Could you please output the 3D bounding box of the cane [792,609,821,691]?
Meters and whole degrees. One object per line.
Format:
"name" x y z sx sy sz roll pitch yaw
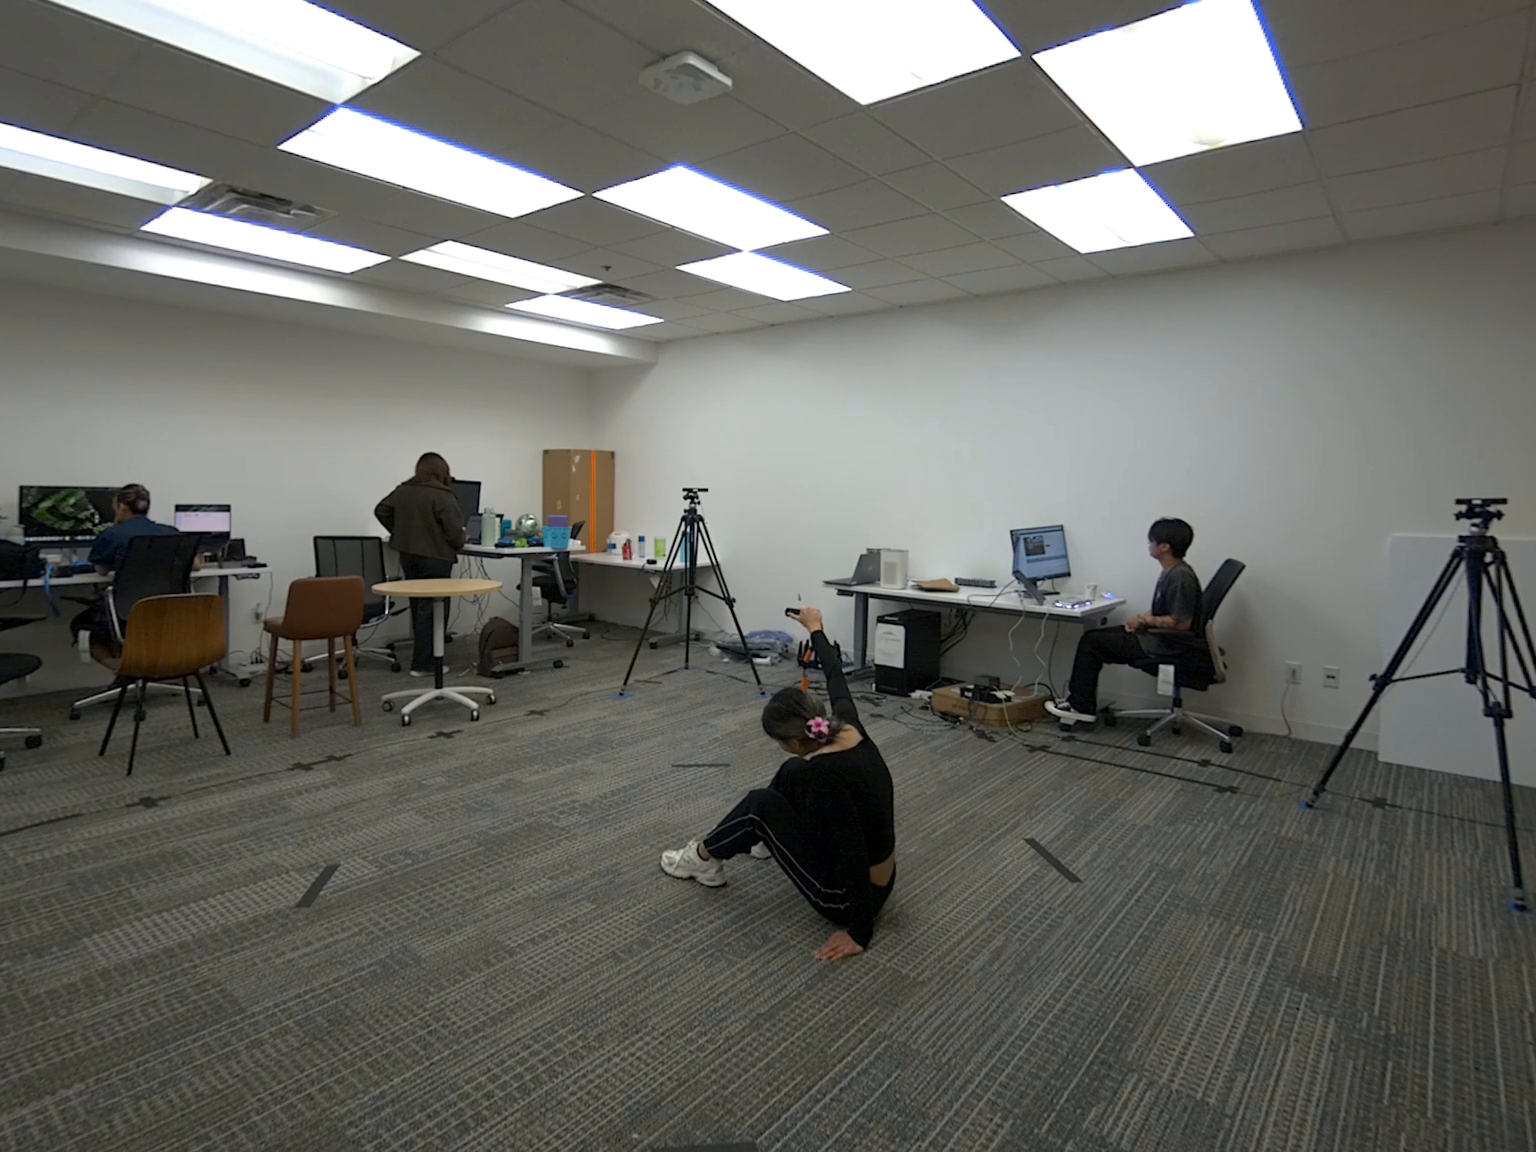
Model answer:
"cane" 0.131 0.583 3.419 0.213 0.905 0.147 4 4 32
